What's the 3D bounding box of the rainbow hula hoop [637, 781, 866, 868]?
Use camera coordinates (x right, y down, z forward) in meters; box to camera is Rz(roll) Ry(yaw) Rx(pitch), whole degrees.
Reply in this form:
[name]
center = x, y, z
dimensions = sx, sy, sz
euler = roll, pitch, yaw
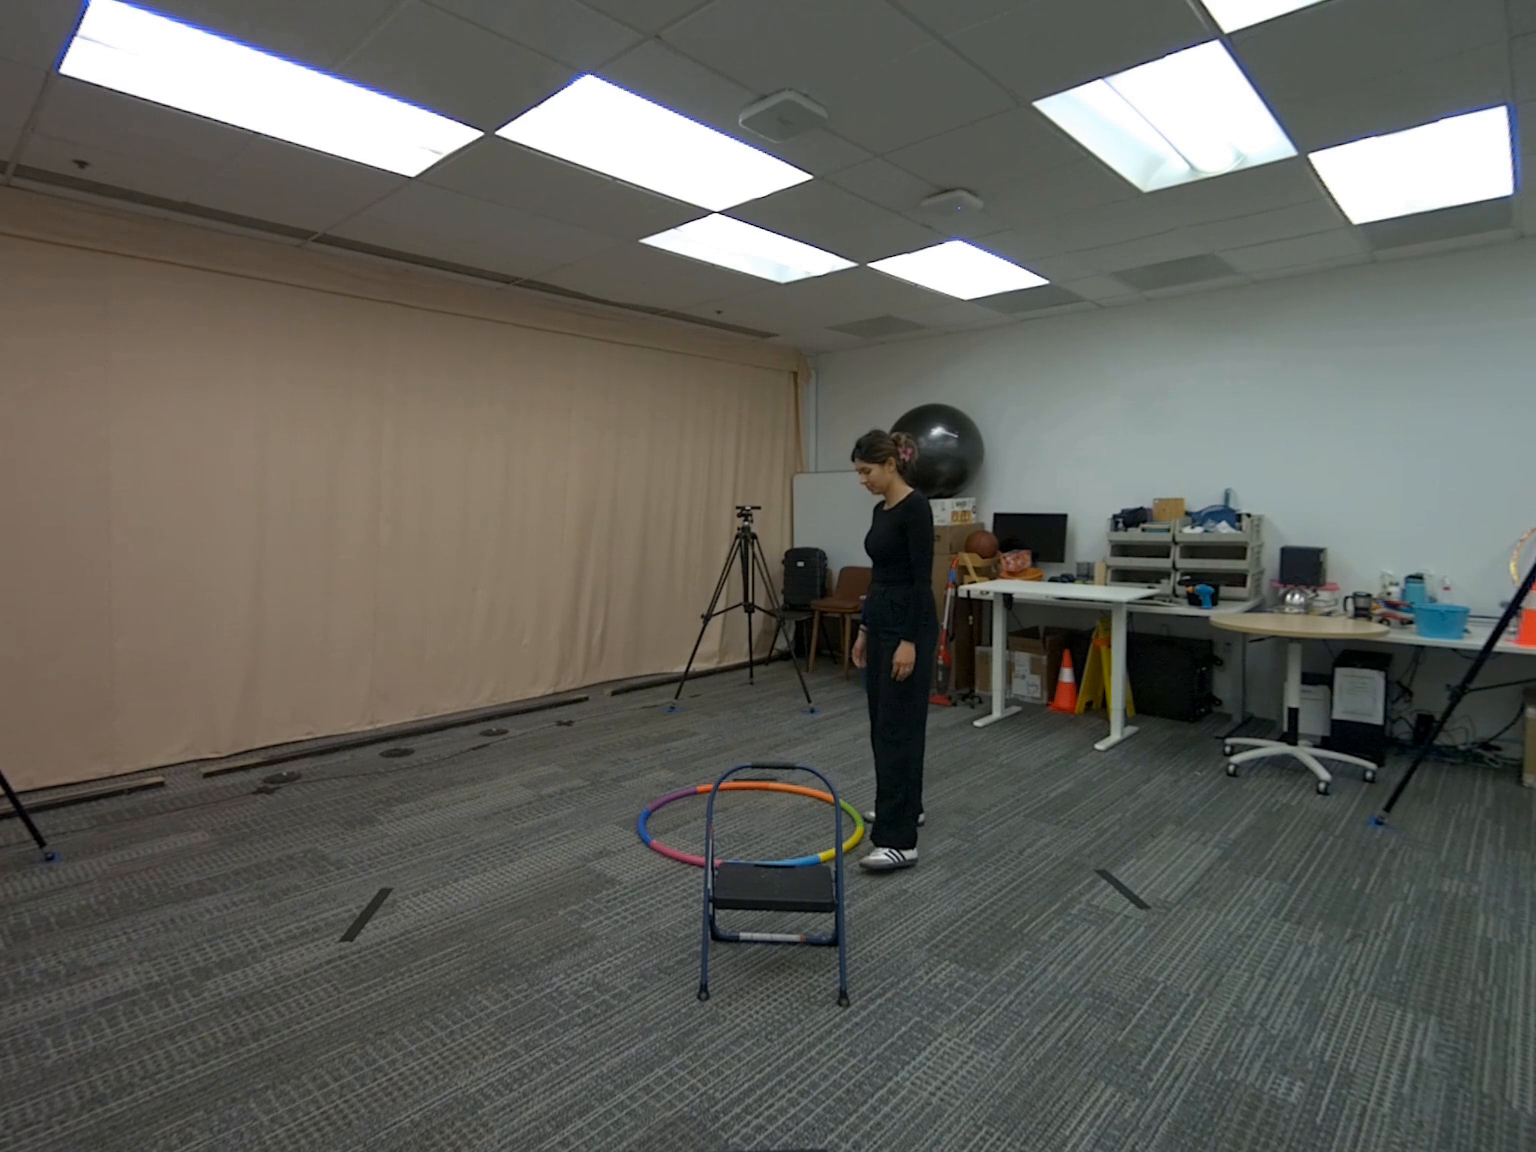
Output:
[rainbow hula hoop]
center = -0.078, 1.055, 3.674
dimensions = 0.978, 0.035, 0.982
euler = -1, 5, -2
